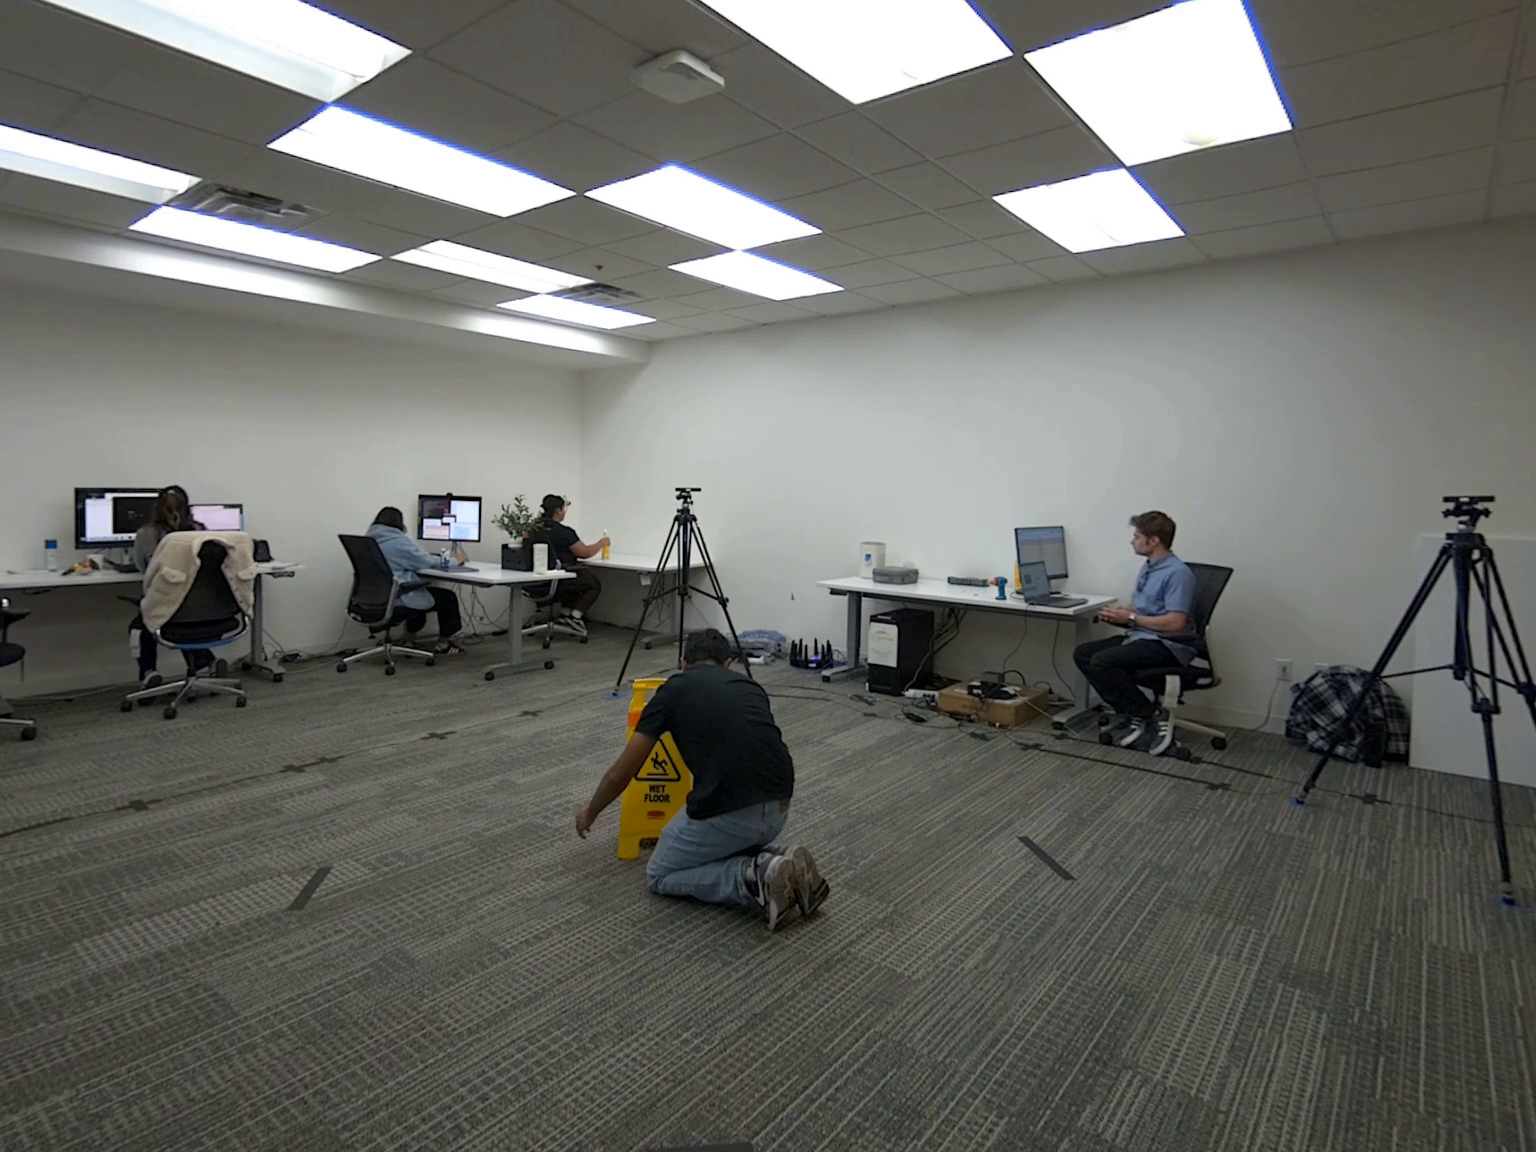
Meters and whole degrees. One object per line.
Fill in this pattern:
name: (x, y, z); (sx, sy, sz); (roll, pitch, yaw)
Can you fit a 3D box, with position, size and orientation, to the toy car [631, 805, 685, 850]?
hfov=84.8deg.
toy car: (-0.407, 1.002, 3.374); (0.249, 0.083, 0.133); (-8, 4, -23)
